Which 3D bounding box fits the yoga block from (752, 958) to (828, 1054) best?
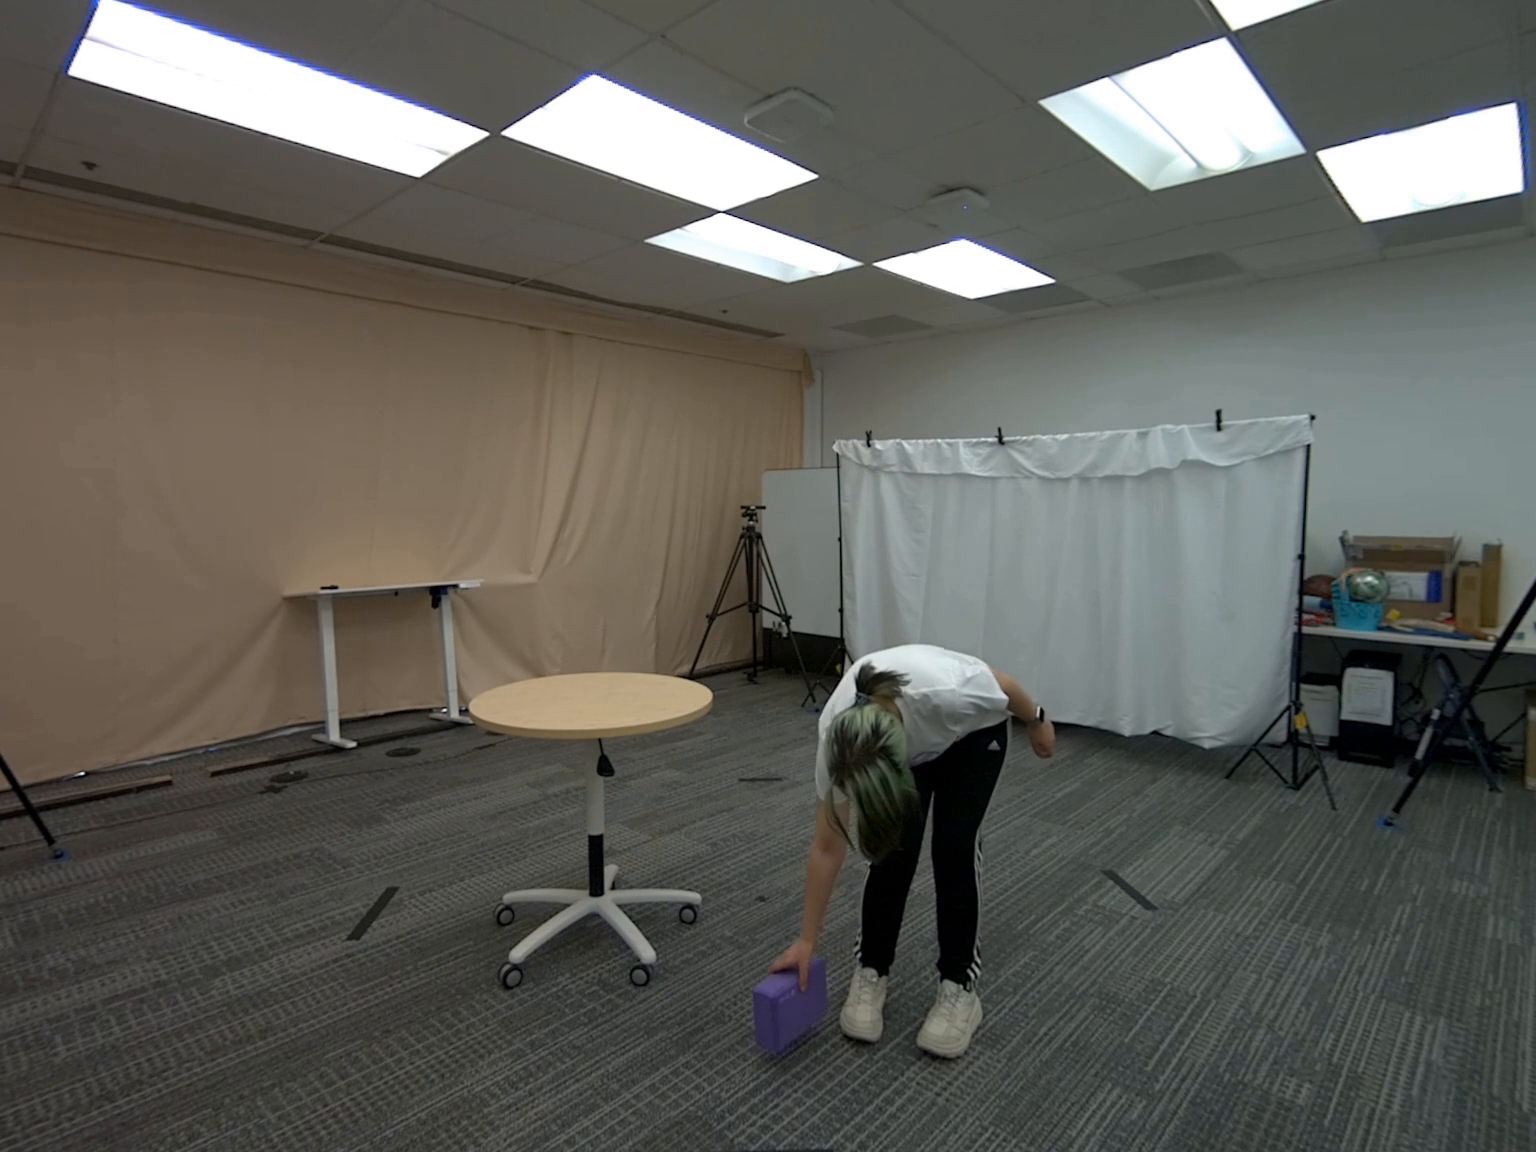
[{"bbox_3d":[0.070,1.088,2.155,0.079,0.149,0.222,-3,2,41],"label":"yoga block"}]
